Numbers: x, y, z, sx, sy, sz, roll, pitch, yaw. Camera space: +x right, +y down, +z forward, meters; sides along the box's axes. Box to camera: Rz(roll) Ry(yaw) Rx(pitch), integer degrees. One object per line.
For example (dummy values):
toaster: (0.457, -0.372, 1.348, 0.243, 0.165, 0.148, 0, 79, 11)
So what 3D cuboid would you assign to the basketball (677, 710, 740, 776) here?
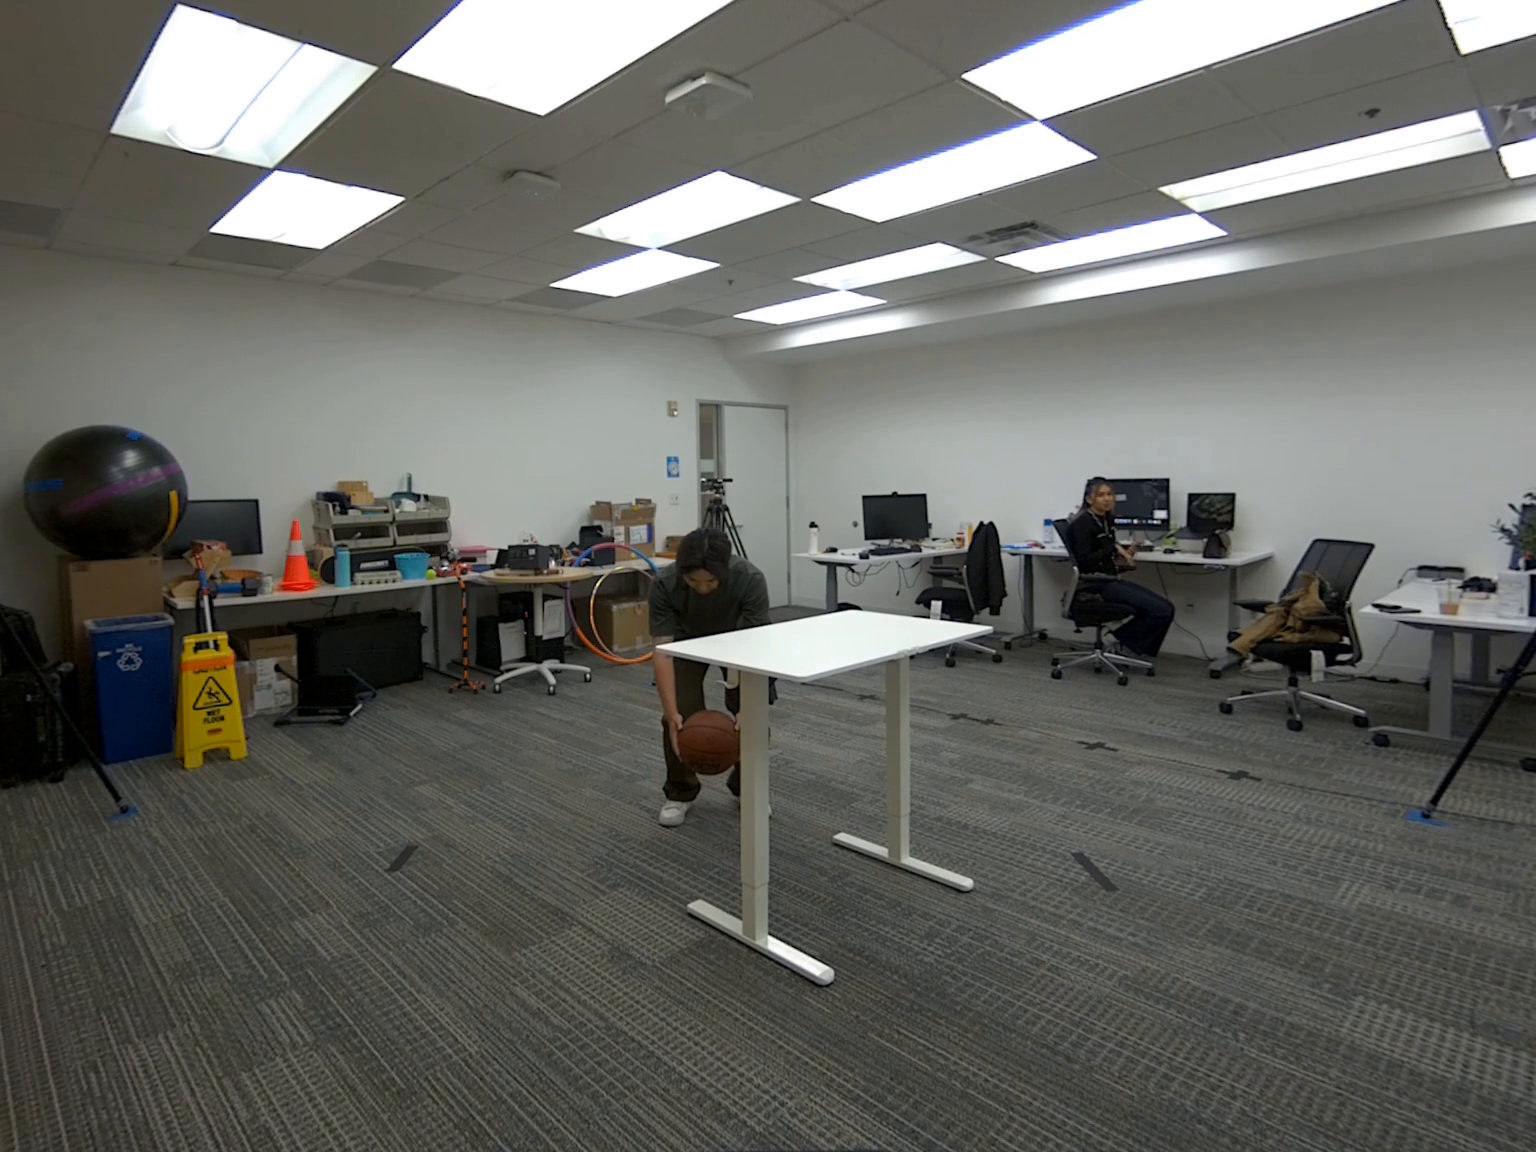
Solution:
basketball: (-0.219, 0.619, 3.197, 0.236, 0.235, 0.237, -1, 5, -2)
